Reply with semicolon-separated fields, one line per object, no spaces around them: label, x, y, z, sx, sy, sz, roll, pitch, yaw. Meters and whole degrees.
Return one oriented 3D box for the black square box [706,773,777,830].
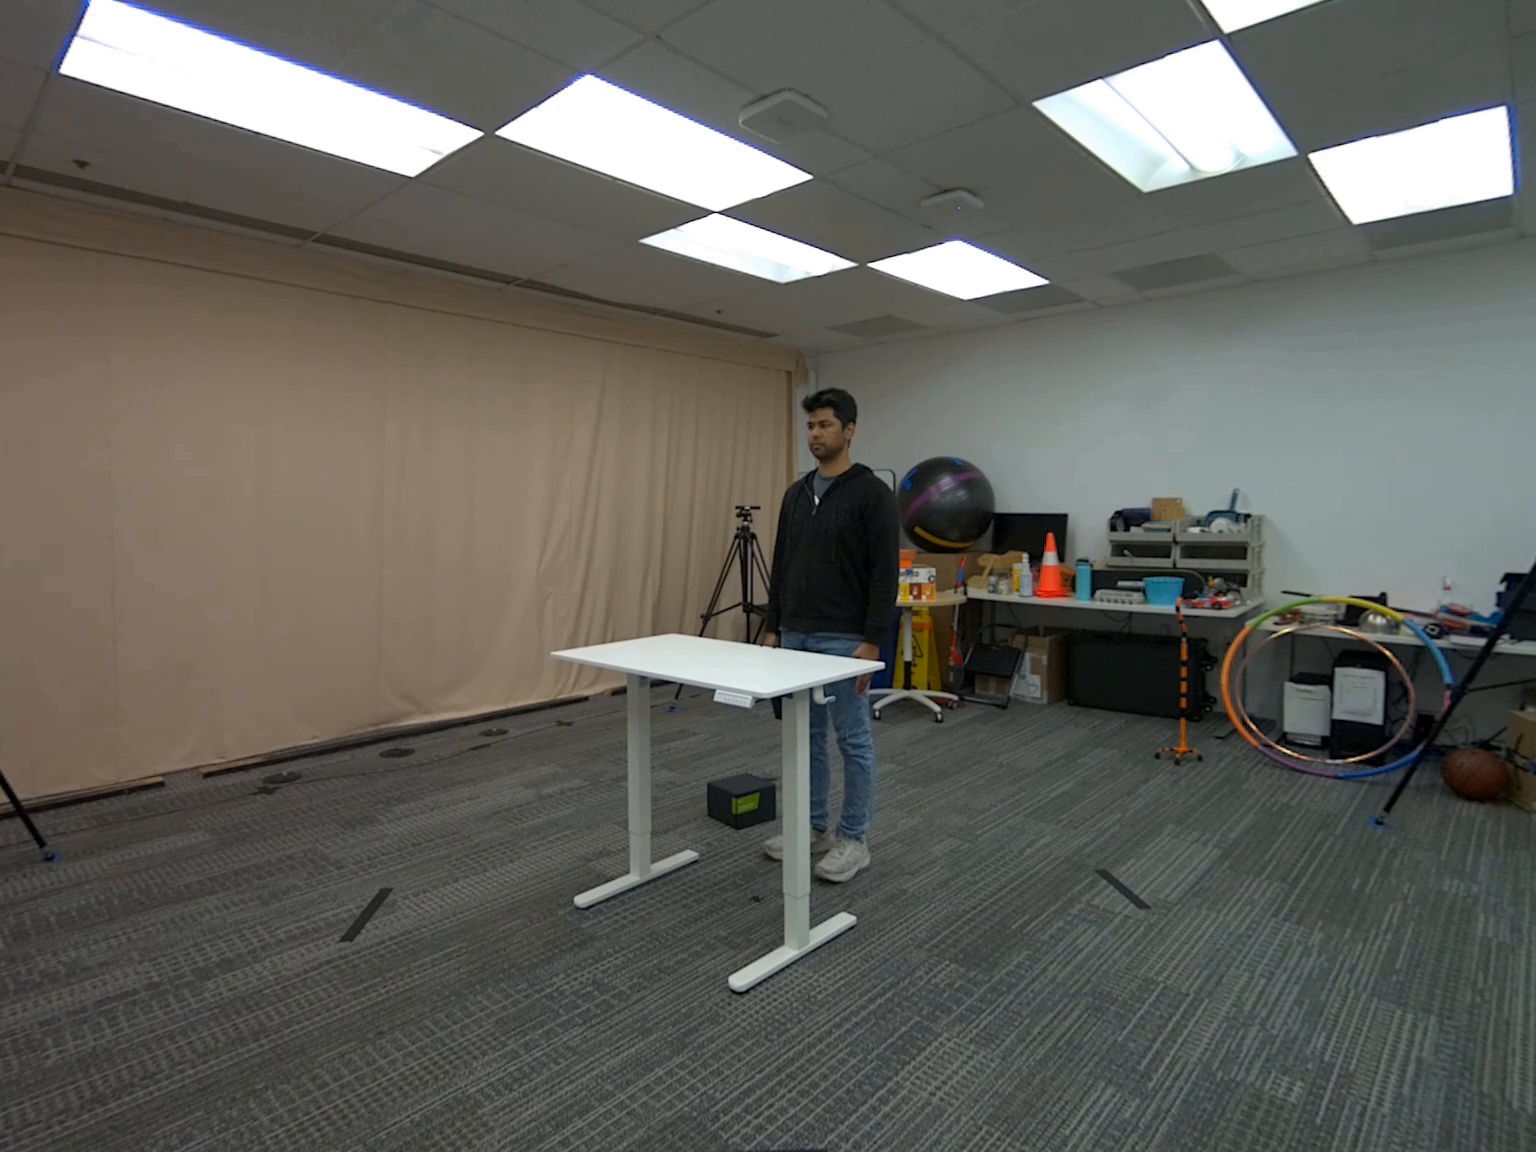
black square box;-0.117;0.997;3.762;0.221;0.155;0.224;-4;5;-39
